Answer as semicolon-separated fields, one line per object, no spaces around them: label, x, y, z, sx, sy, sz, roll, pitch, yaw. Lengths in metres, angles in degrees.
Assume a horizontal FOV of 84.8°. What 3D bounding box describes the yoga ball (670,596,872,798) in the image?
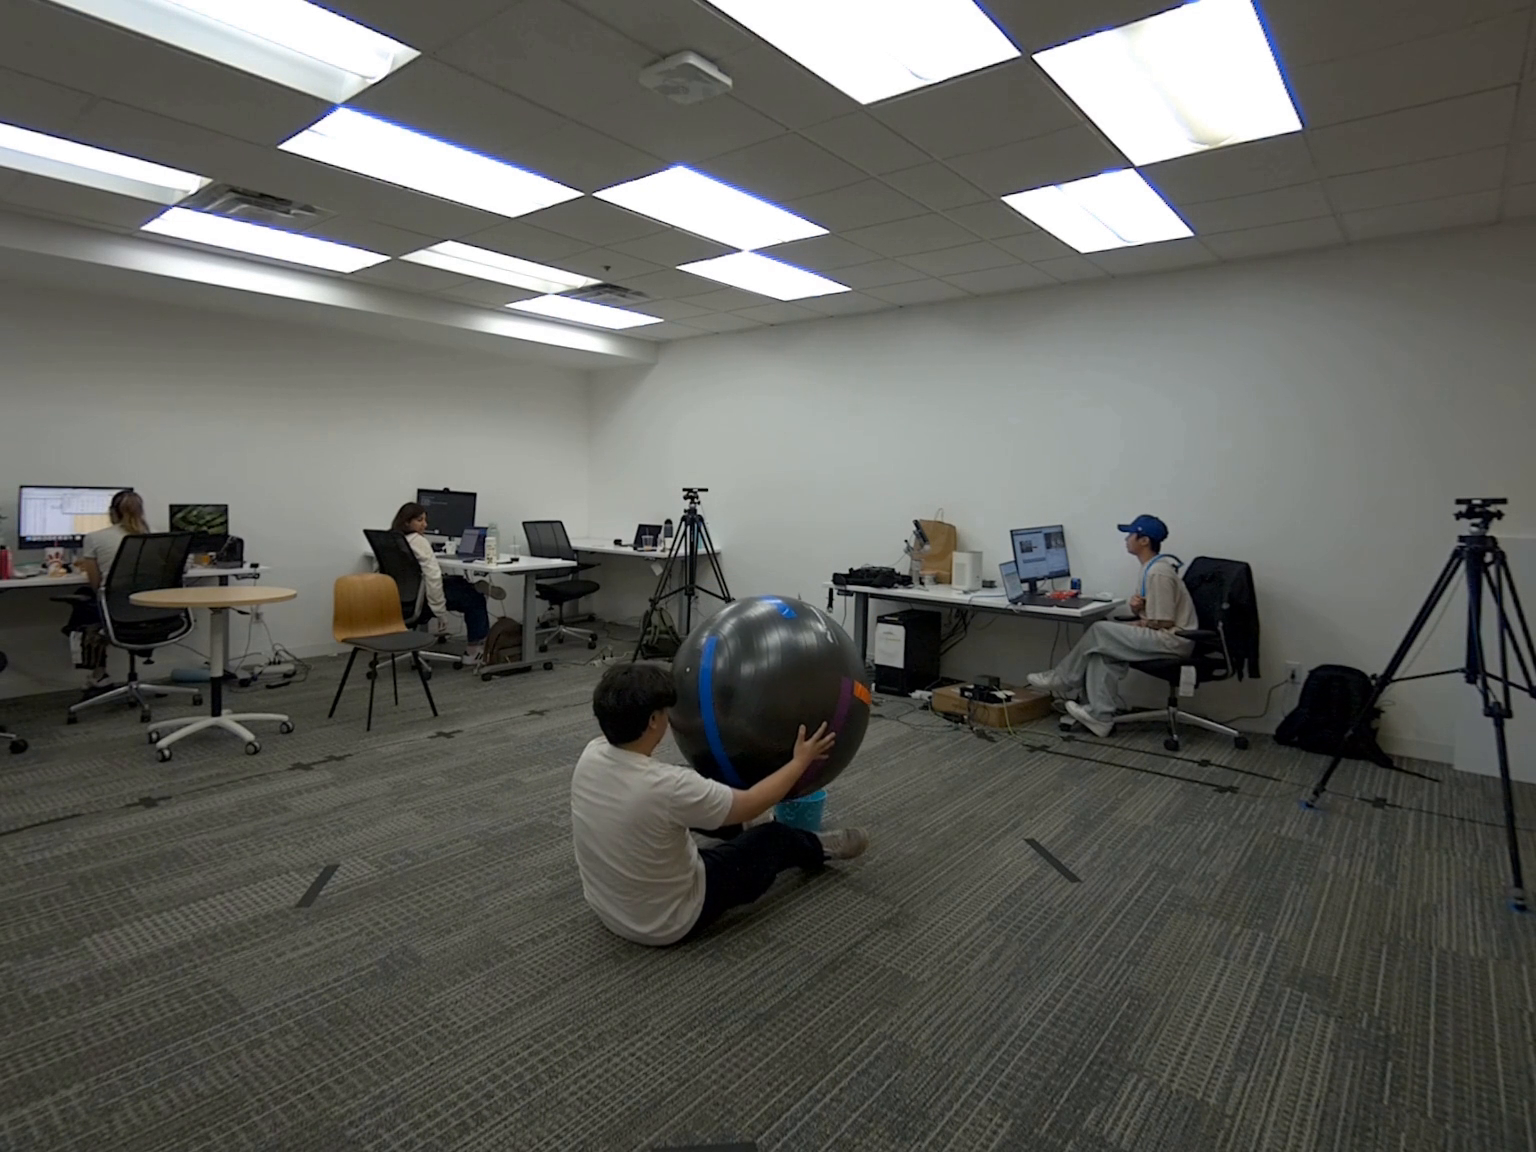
yoga ball;-0.010;0.448;3.184;0.757;0.755;0.762;1;4;-2
